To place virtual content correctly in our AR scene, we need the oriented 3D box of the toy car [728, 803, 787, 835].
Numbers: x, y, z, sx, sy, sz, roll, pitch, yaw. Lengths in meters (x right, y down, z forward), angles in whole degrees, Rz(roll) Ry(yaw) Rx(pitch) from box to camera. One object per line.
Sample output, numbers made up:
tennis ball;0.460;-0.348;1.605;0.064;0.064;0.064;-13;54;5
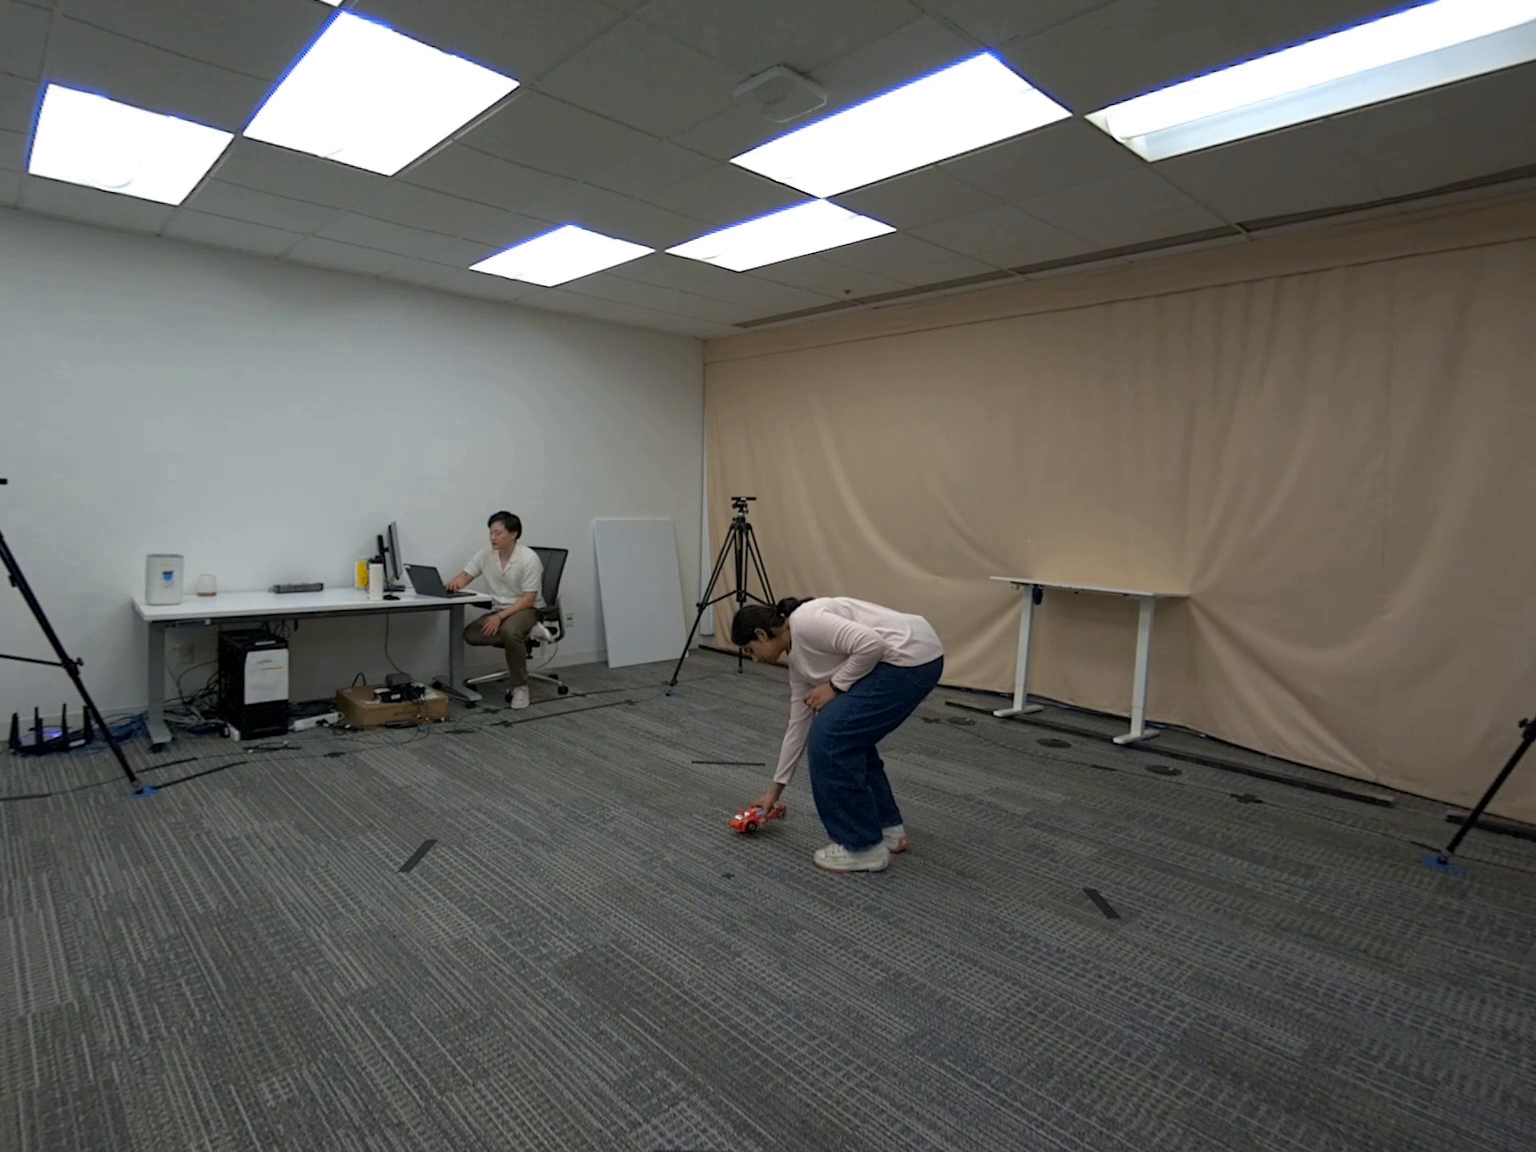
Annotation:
toy car;-0.062;1.009;3.520;0.250;0.083;0.132;-1;-5;-22
